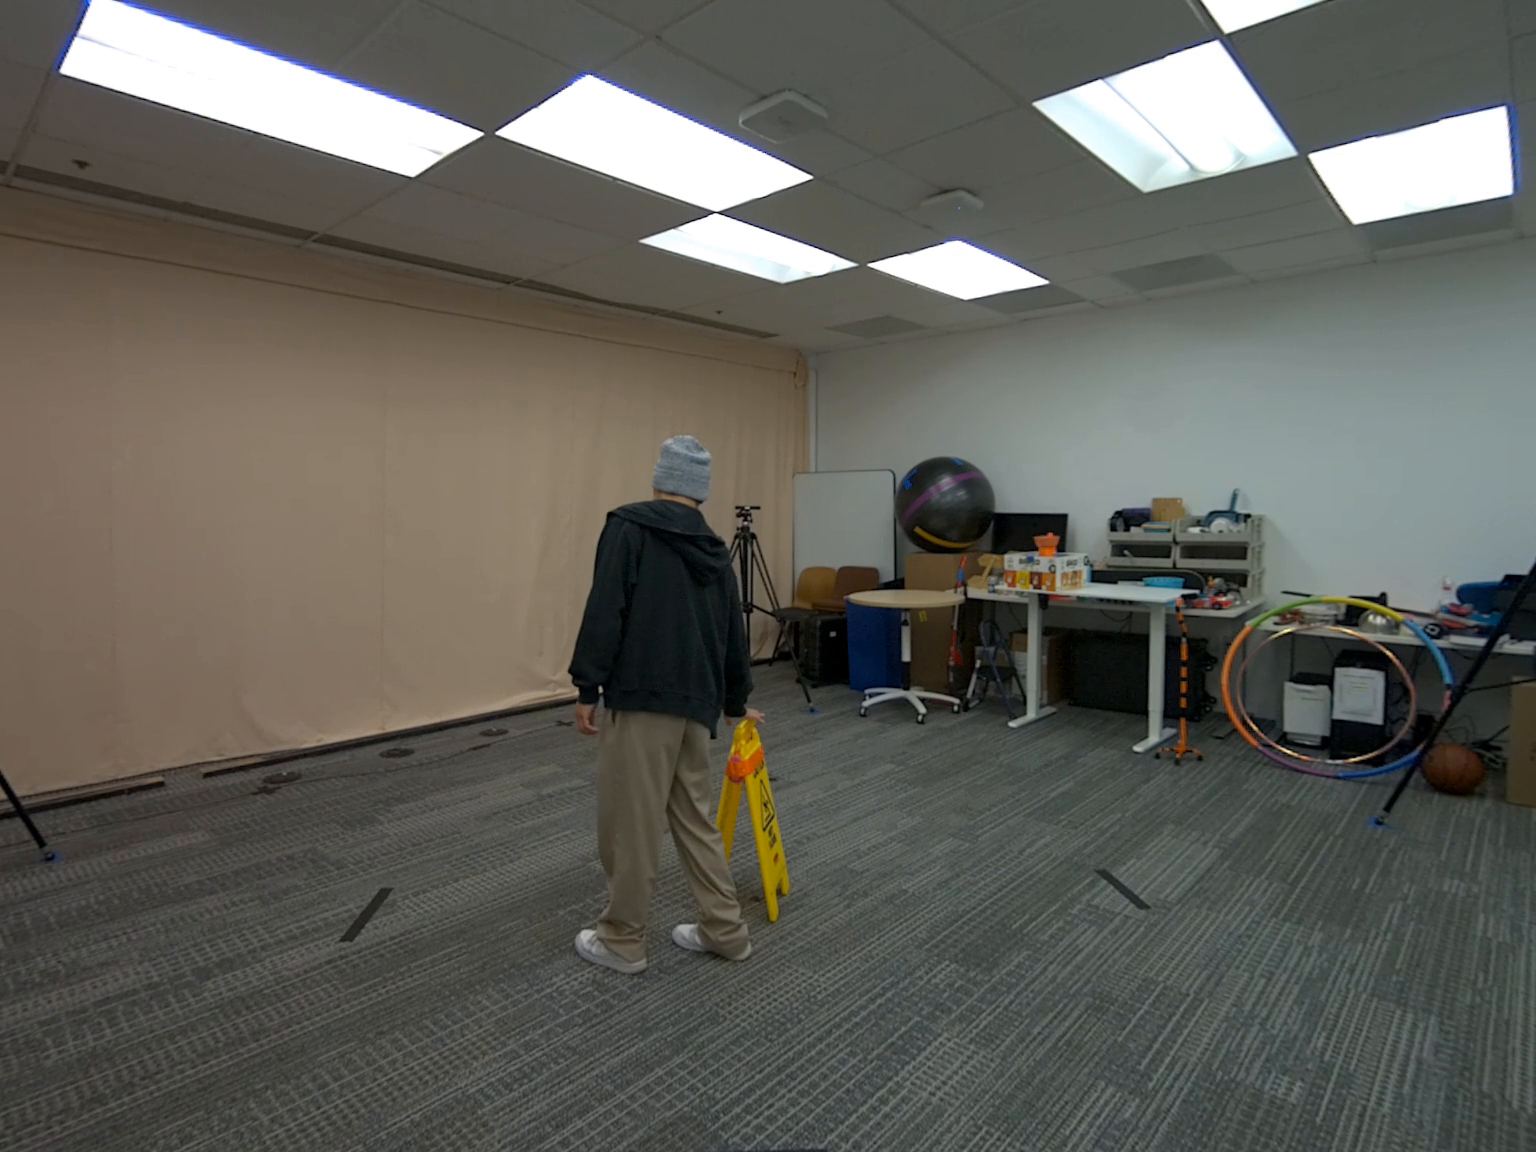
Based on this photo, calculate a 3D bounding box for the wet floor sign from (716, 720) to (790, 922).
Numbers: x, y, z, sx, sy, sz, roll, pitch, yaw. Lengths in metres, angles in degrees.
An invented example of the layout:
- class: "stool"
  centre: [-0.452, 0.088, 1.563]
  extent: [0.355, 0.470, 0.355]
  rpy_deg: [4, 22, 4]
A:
- class: "wet floor sign"
  centre: [-0.078, 0.822, 2.962]
  extent: [0.294, 0.645, 0.278]
  rpy_deg: [0, 2, 14]
